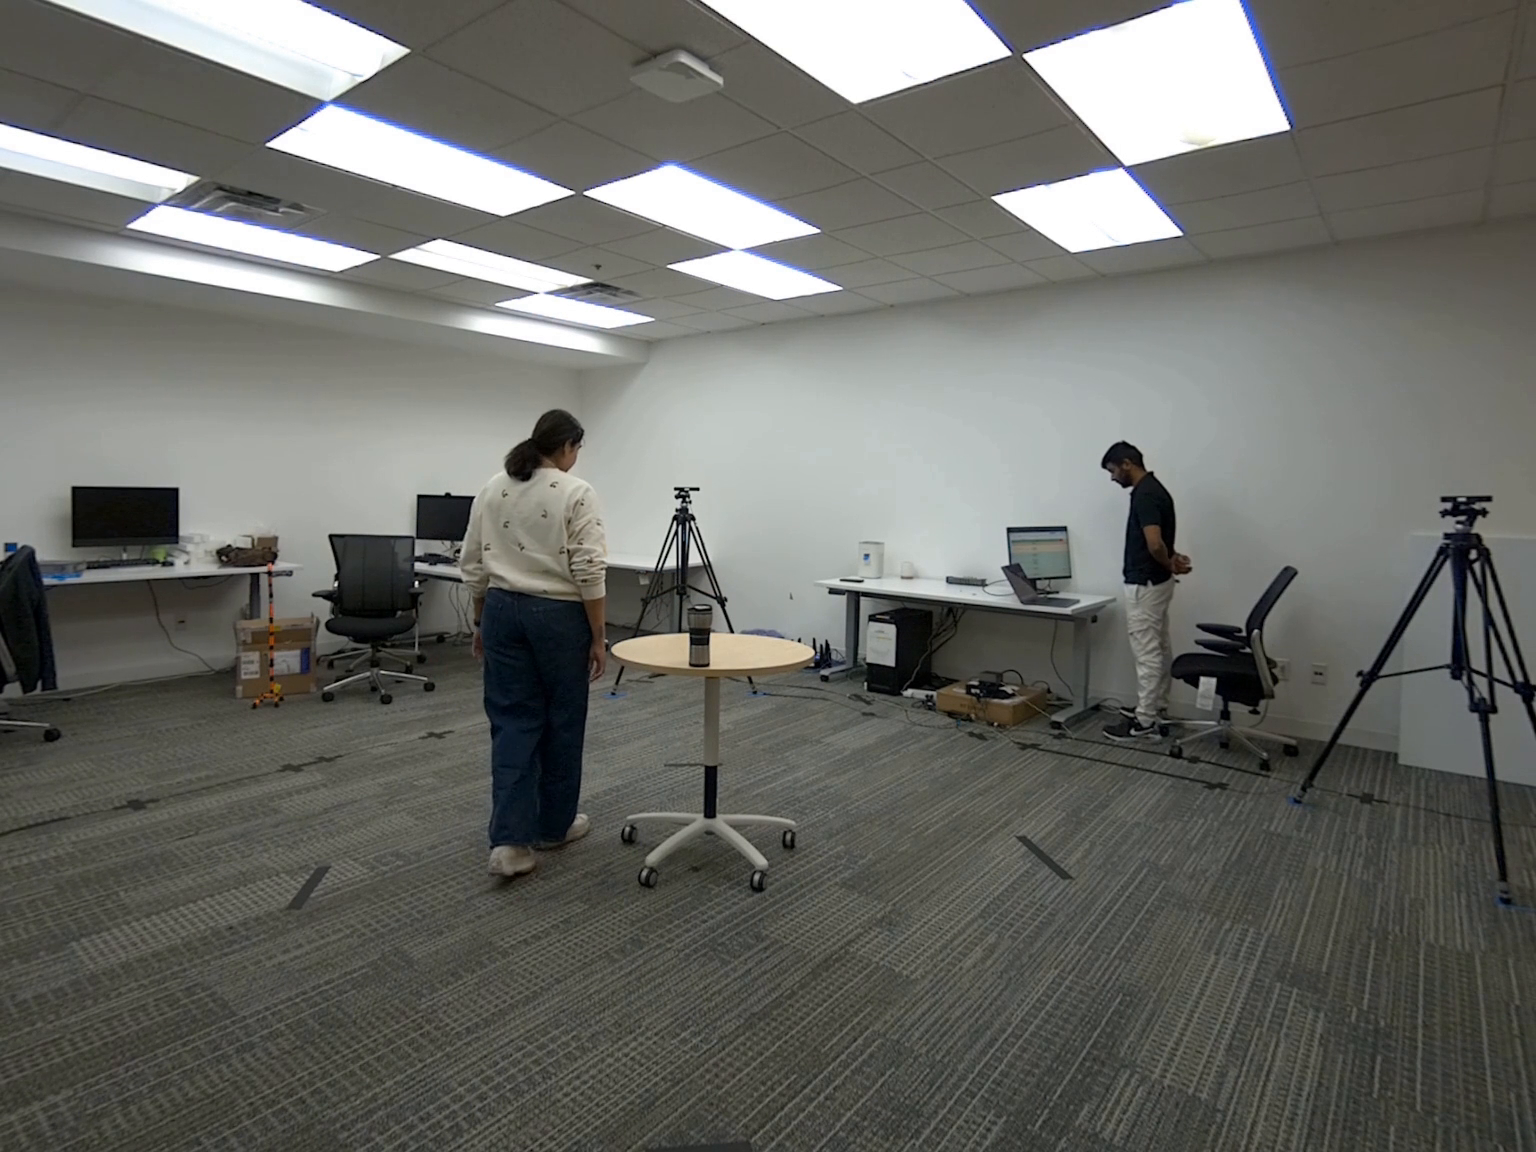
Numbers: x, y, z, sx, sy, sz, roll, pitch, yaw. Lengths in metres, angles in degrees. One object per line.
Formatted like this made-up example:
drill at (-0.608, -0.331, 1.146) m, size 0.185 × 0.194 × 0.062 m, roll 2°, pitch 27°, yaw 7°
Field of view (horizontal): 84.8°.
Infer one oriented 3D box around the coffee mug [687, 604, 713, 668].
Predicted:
coffee mug at (-0.233, 0.204, 2.901) m, size 0.090 × 0.202 × 0.119 m, roll -4°, pitch 4°, yaw 26°
